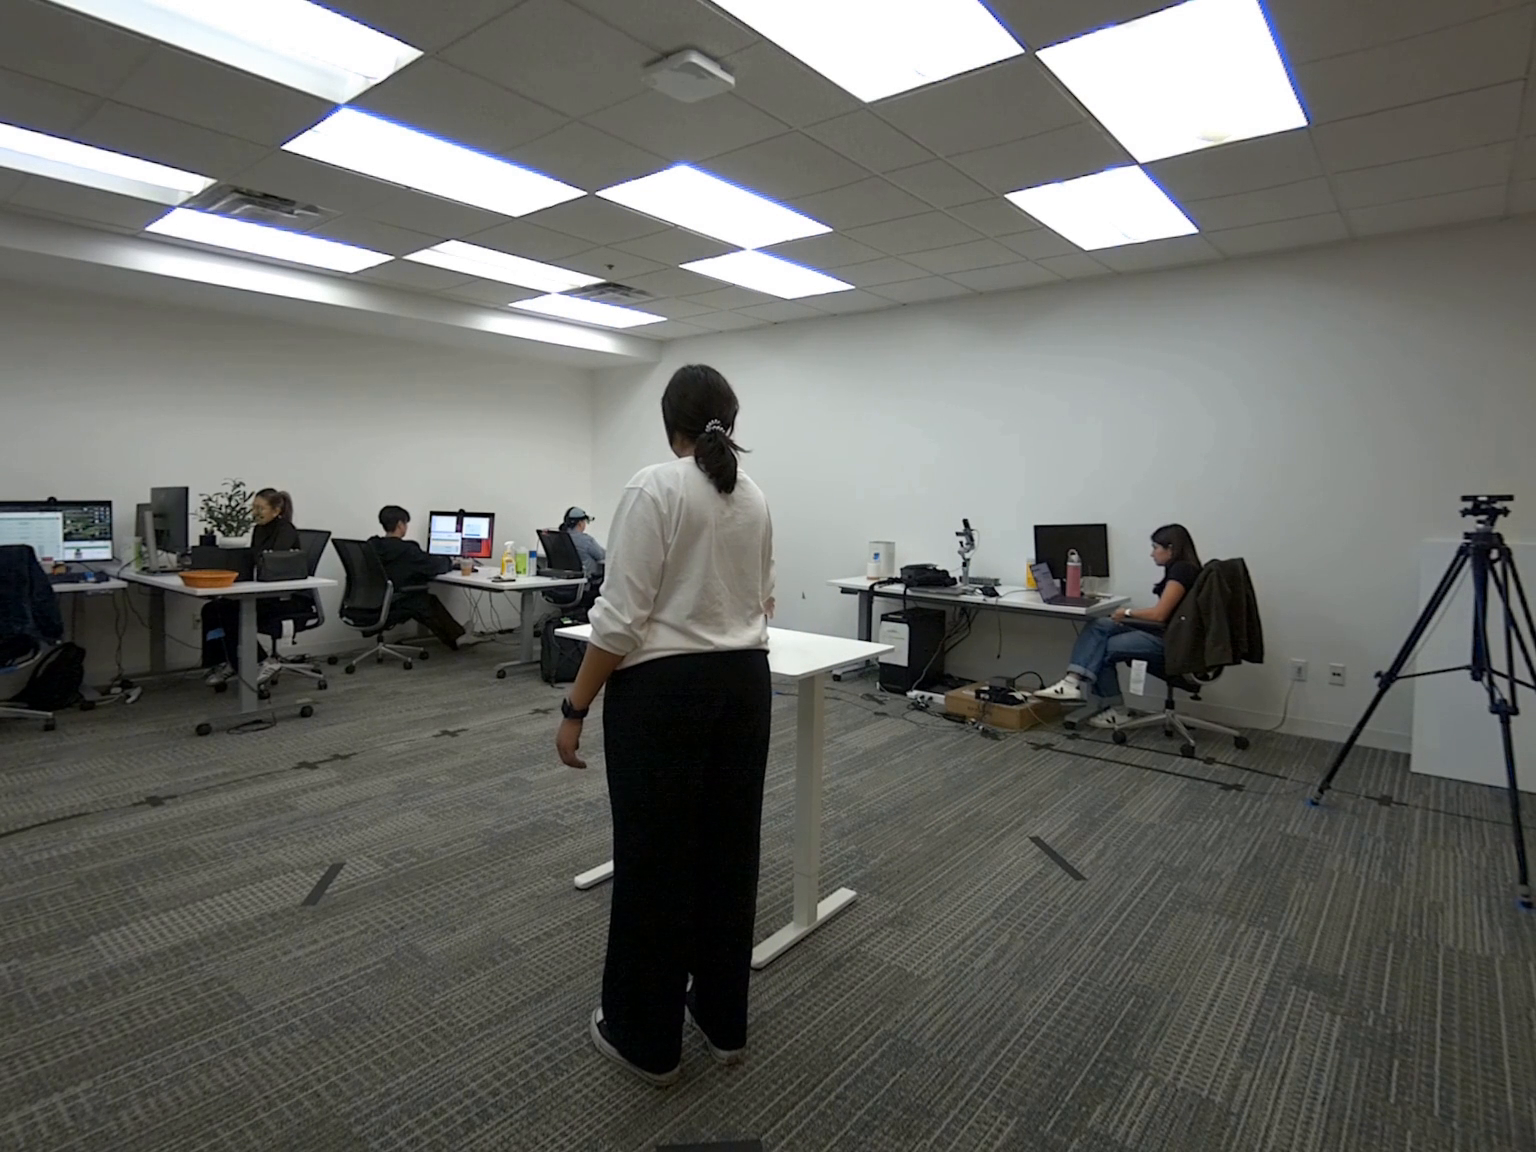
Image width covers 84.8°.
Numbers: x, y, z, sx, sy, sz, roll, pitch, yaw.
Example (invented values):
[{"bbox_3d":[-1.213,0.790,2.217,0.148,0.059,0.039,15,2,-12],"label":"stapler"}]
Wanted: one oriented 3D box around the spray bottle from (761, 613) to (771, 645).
[{"bbox_3d":[-0.039,0.075,2.787,0.085,0.296,0.093,-2,4,-30],"label":"spray bottle"}]
